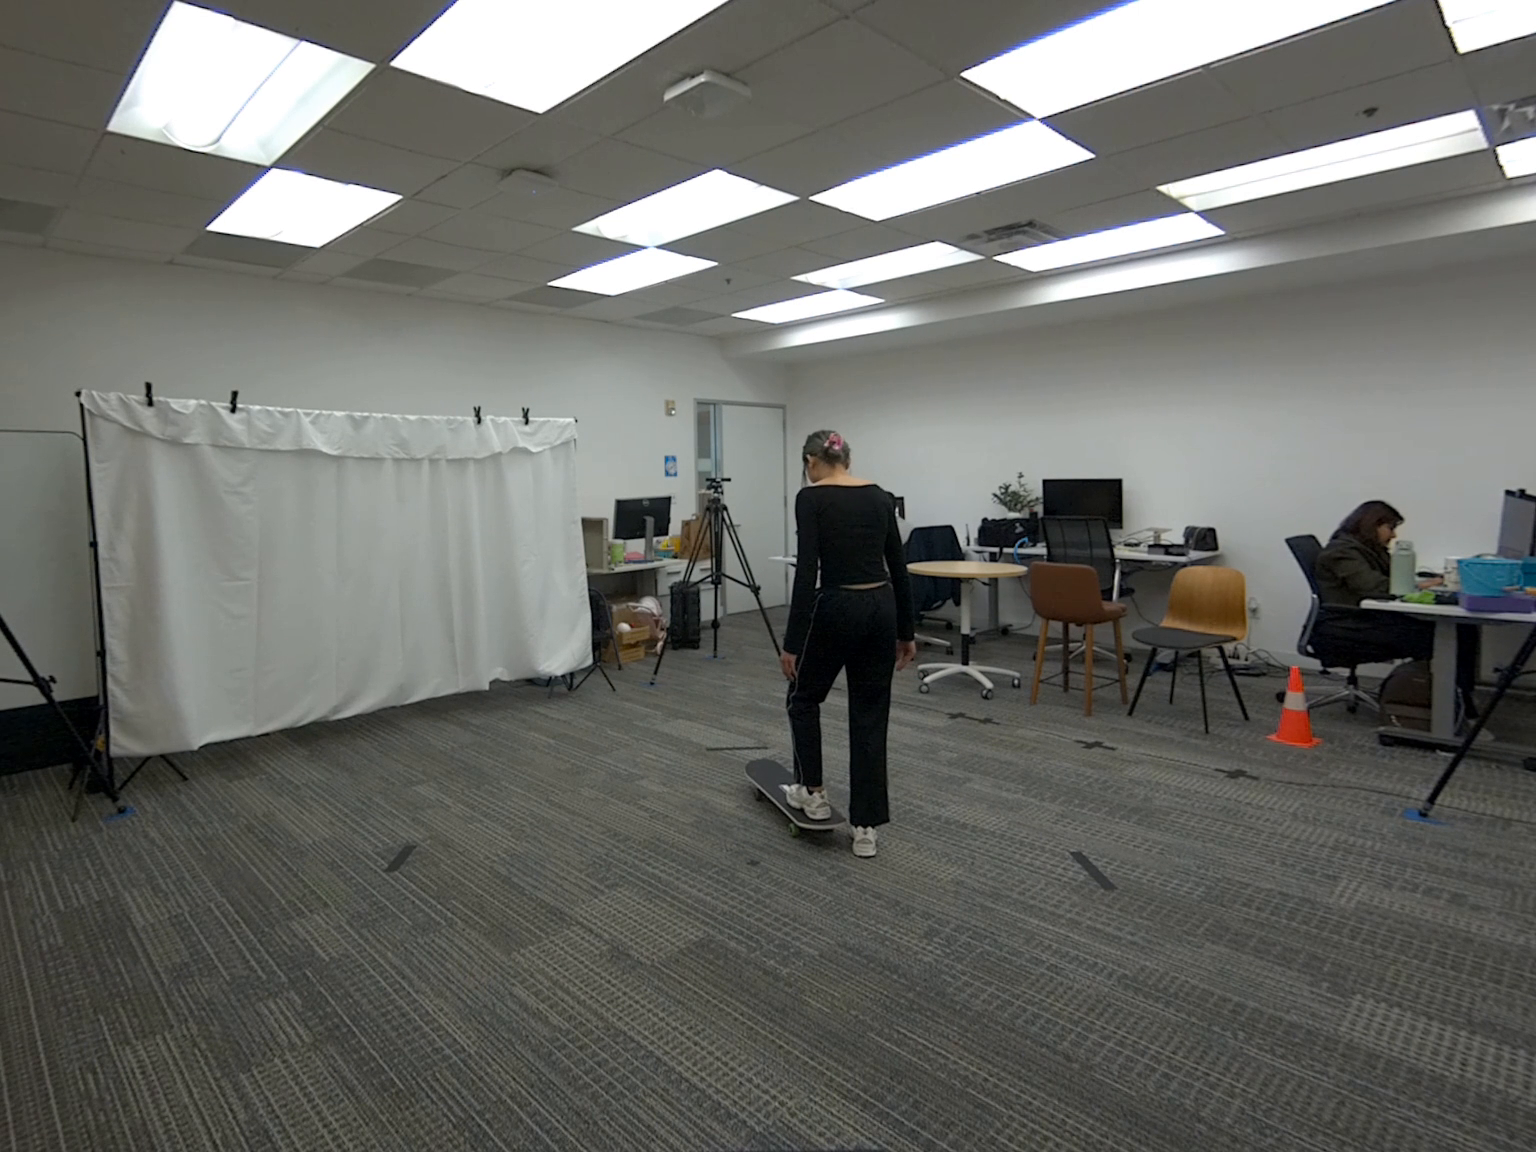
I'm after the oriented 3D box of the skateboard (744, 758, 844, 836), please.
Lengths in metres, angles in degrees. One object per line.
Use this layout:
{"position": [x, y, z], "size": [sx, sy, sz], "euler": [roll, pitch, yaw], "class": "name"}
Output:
{"position": [0.103, 0.933, 3.543], "size": [0.190, 0.110, 0.803], "euler": [-3, 7, -21], "class": "skateboard"}
